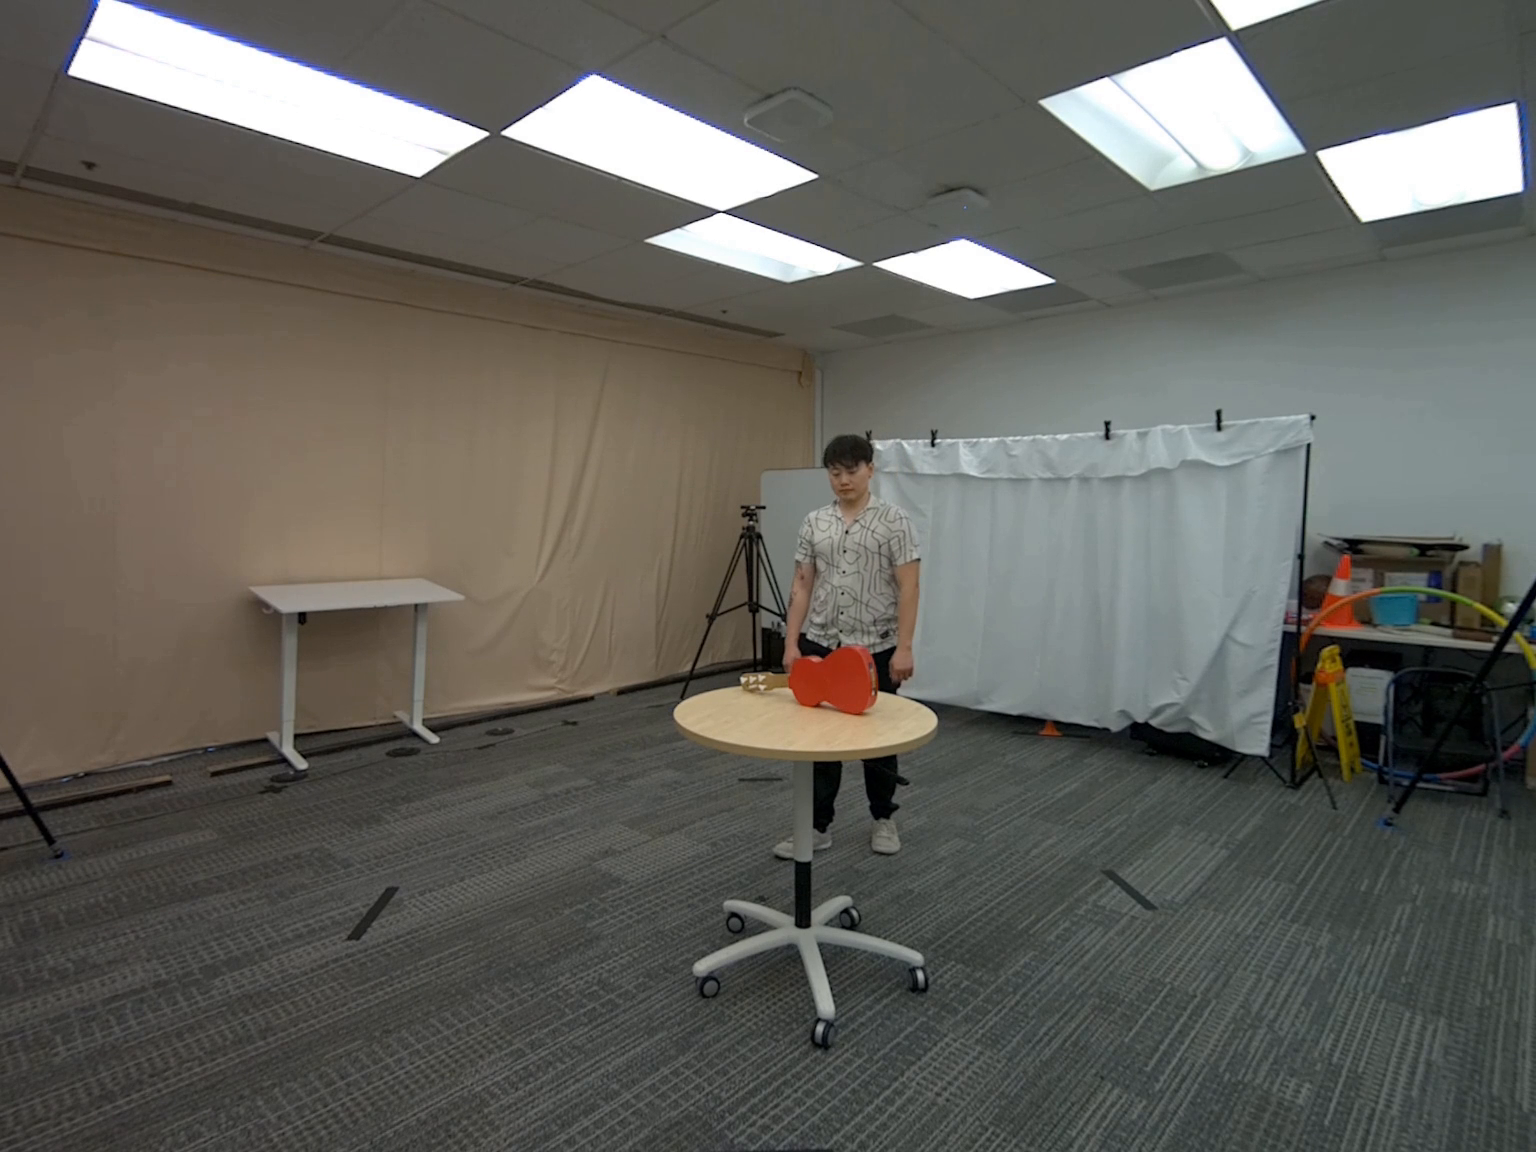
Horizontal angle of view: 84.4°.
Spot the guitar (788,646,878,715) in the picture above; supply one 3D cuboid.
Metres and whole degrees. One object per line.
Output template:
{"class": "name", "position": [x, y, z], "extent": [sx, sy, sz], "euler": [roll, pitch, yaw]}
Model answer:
{"class": "guitar", "position": [0.114, 0.348, 2.590], "extent": [0.509, 0.194, 0.068], "euler": [-19, -10, 36]}
